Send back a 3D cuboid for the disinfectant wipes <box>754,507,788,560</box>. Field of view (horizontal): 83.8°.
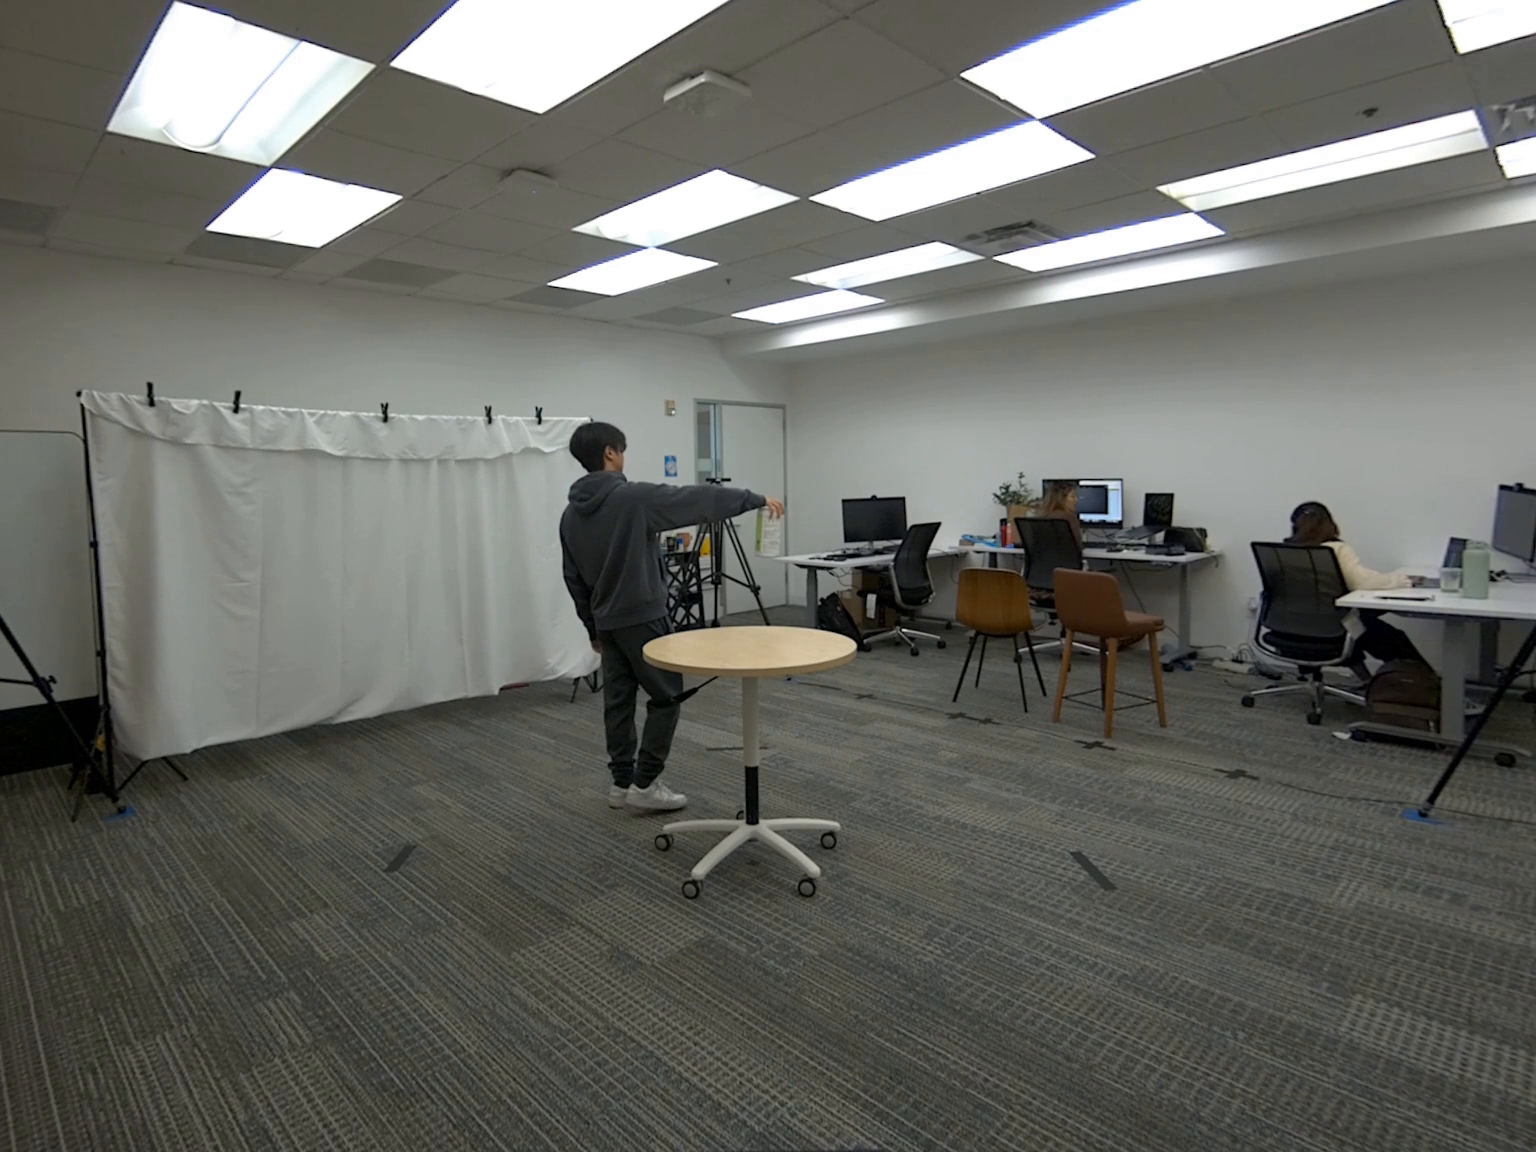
[{"bbox_3d":[0.009,-0.192,3.720,0.117,0.216,0.118,5,5,-2],"label":"disinfectant wipes"}]
